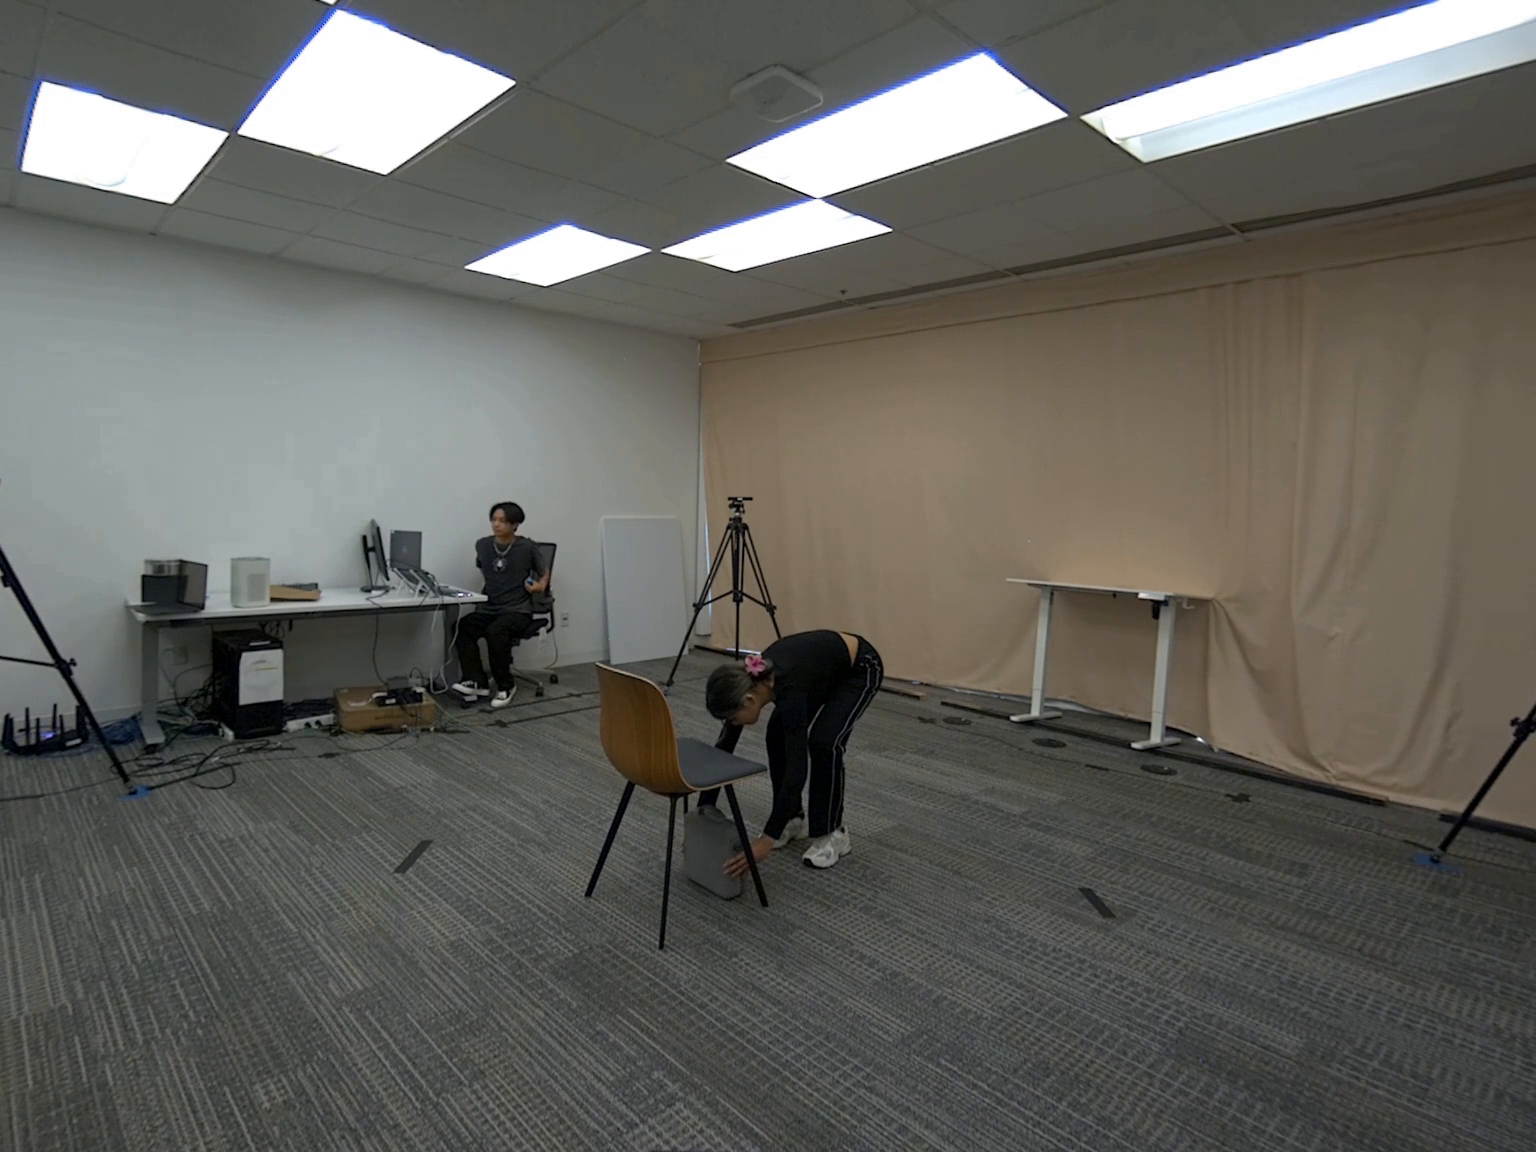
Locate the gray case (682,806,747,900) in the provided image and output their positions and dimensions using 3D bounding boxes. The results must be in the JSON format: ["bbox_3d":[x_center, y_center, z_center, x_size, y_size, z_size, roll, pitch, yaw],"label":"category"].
[{"bbox_3d":[-0.192,0.980,3.008,0.102,0.260,0.263,-4,6,-42],"label":"gray case"}]
